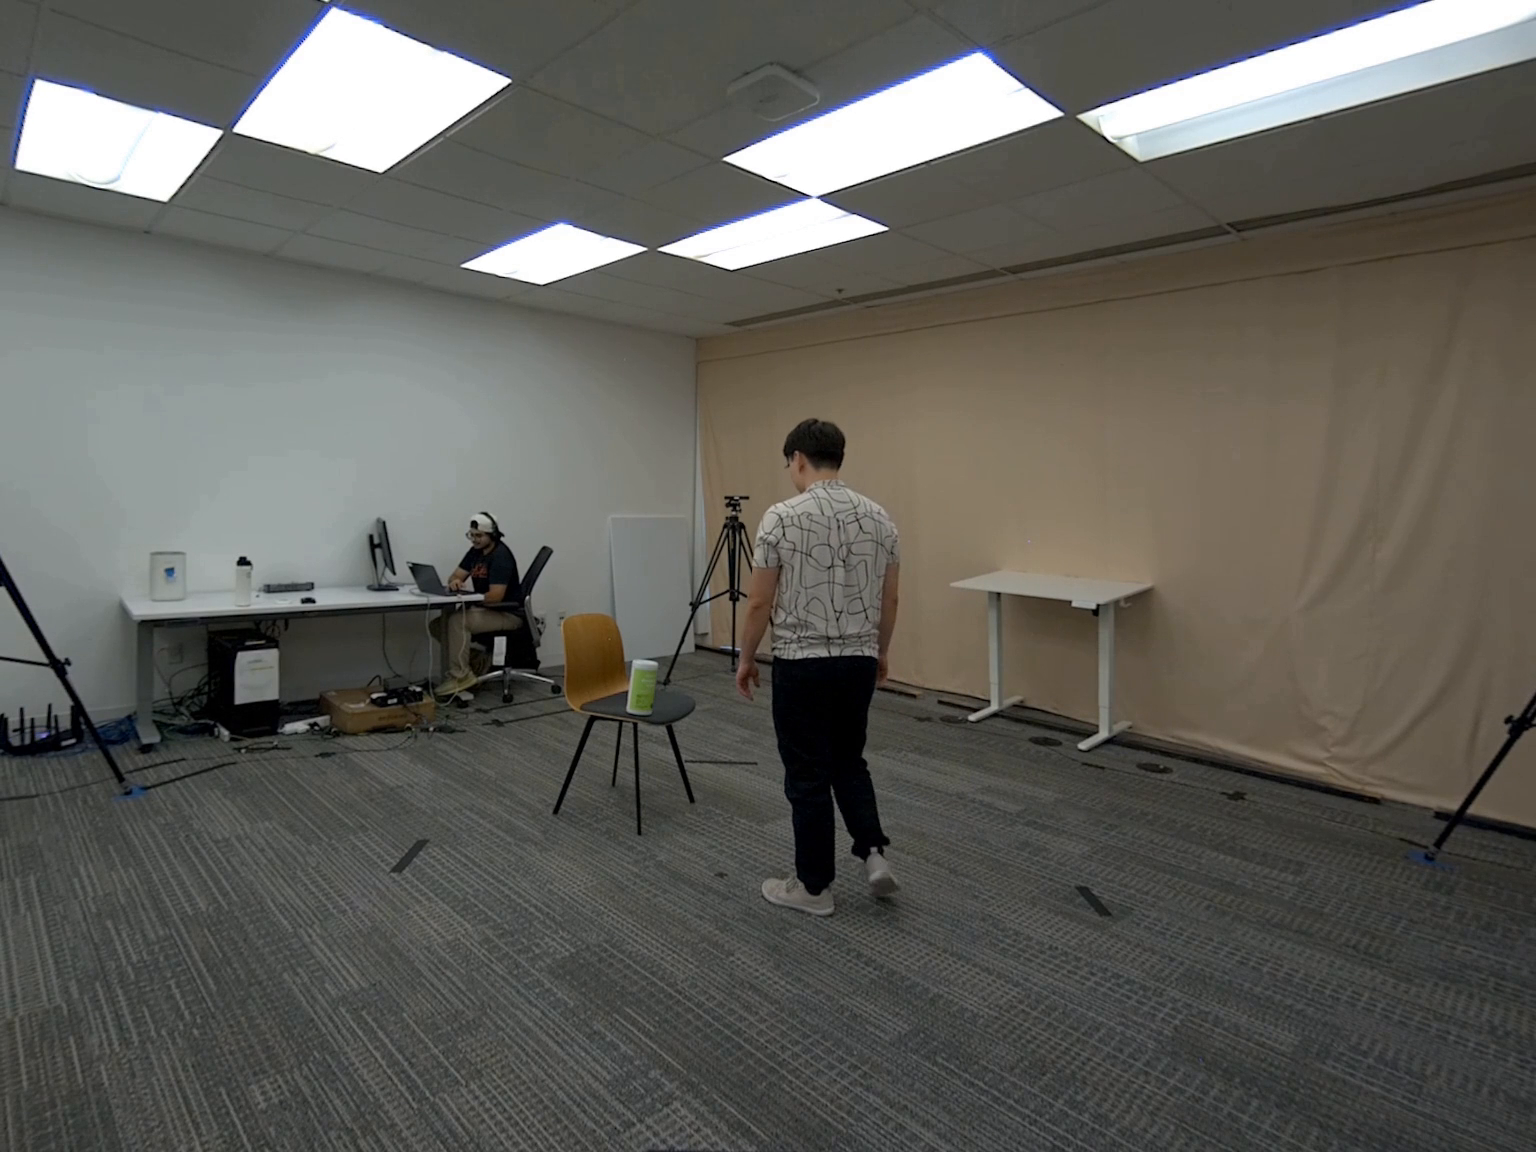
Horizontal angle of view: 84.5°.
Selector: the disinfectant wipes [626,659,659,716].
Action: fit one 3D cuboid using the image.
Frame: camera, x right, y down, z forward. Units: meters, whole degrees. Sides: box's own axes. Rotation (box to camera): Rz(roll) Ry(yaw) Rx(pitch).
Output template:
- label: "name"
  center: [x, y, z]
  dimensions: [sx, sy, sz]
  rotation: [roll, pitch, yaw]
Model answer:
- label: "disinfectant wipes"
  center: [-0.534, 0.463, 3.499]
  dimensions: [0.118, 0.217, 0.118]
  rotation: [8, 0, -1]
